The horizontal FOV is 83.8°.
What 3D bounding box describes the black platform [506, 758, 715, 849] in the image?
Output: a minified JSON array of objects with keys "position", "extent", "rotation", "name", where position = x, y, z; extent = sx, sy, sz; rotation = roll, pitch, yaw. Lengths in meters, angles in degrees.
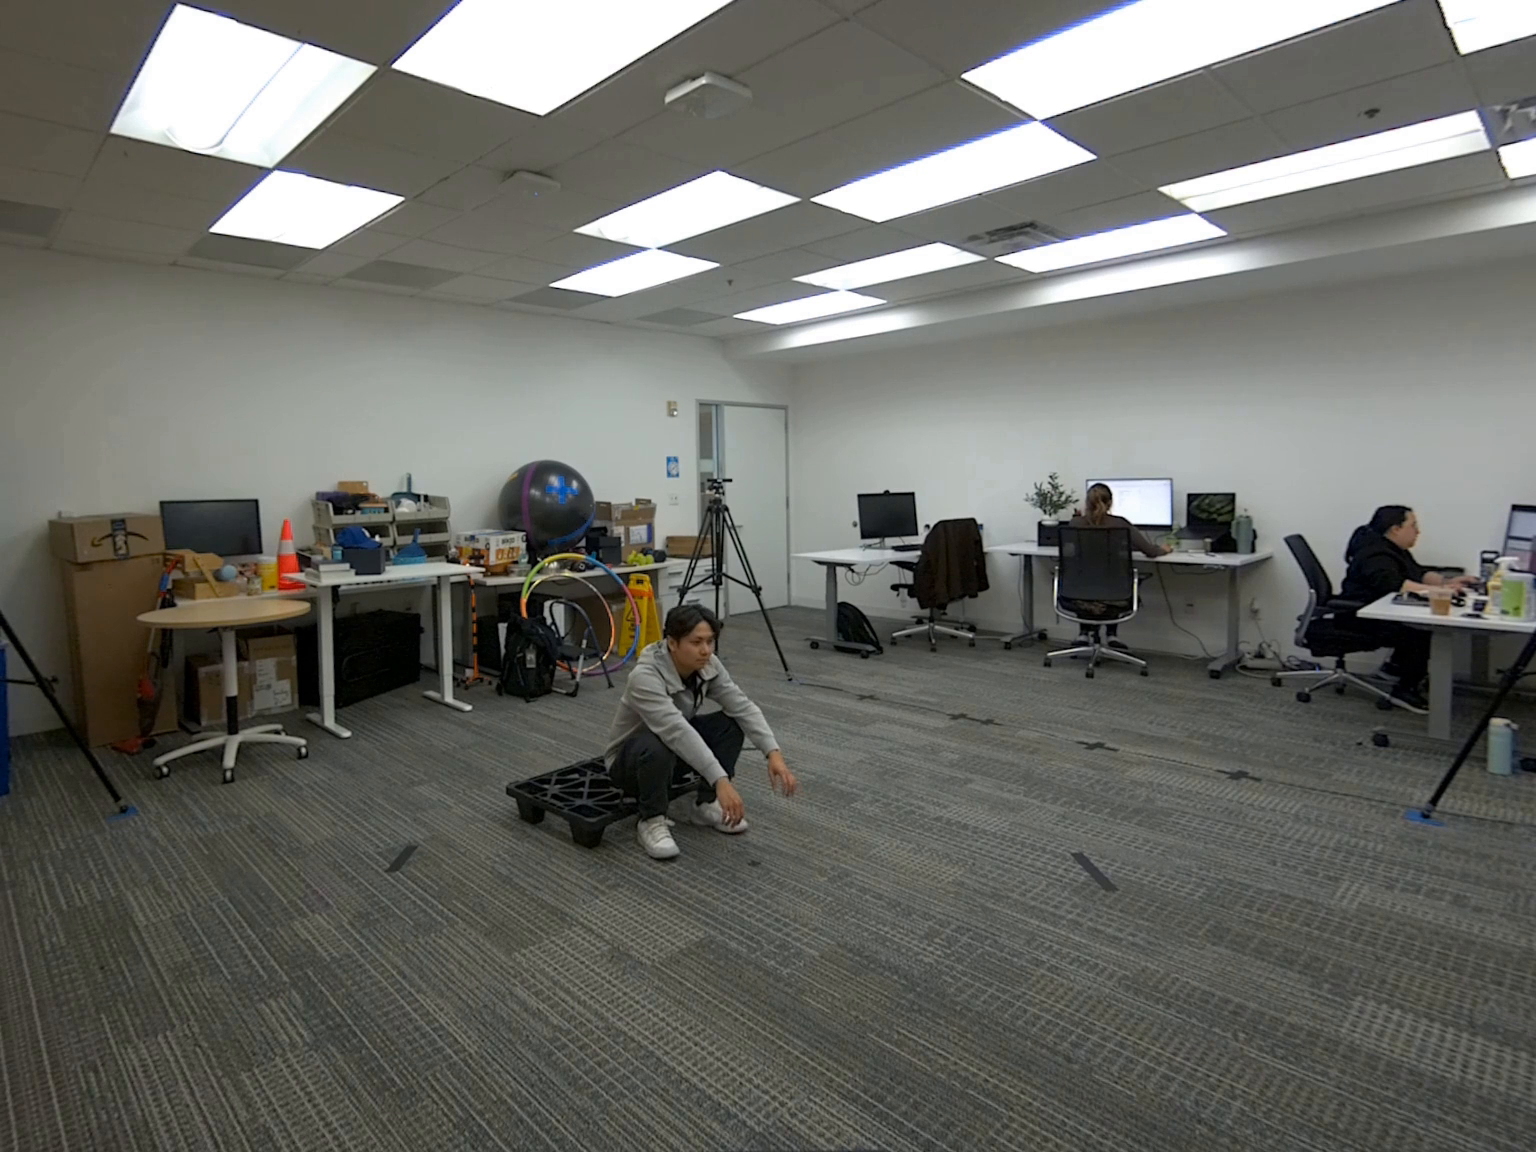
[{"position":[-0.614,0.924,3.670],"extent":[0.624,0.142,0.785],"rotation":[5,9,41],"name":"black platform"}]
